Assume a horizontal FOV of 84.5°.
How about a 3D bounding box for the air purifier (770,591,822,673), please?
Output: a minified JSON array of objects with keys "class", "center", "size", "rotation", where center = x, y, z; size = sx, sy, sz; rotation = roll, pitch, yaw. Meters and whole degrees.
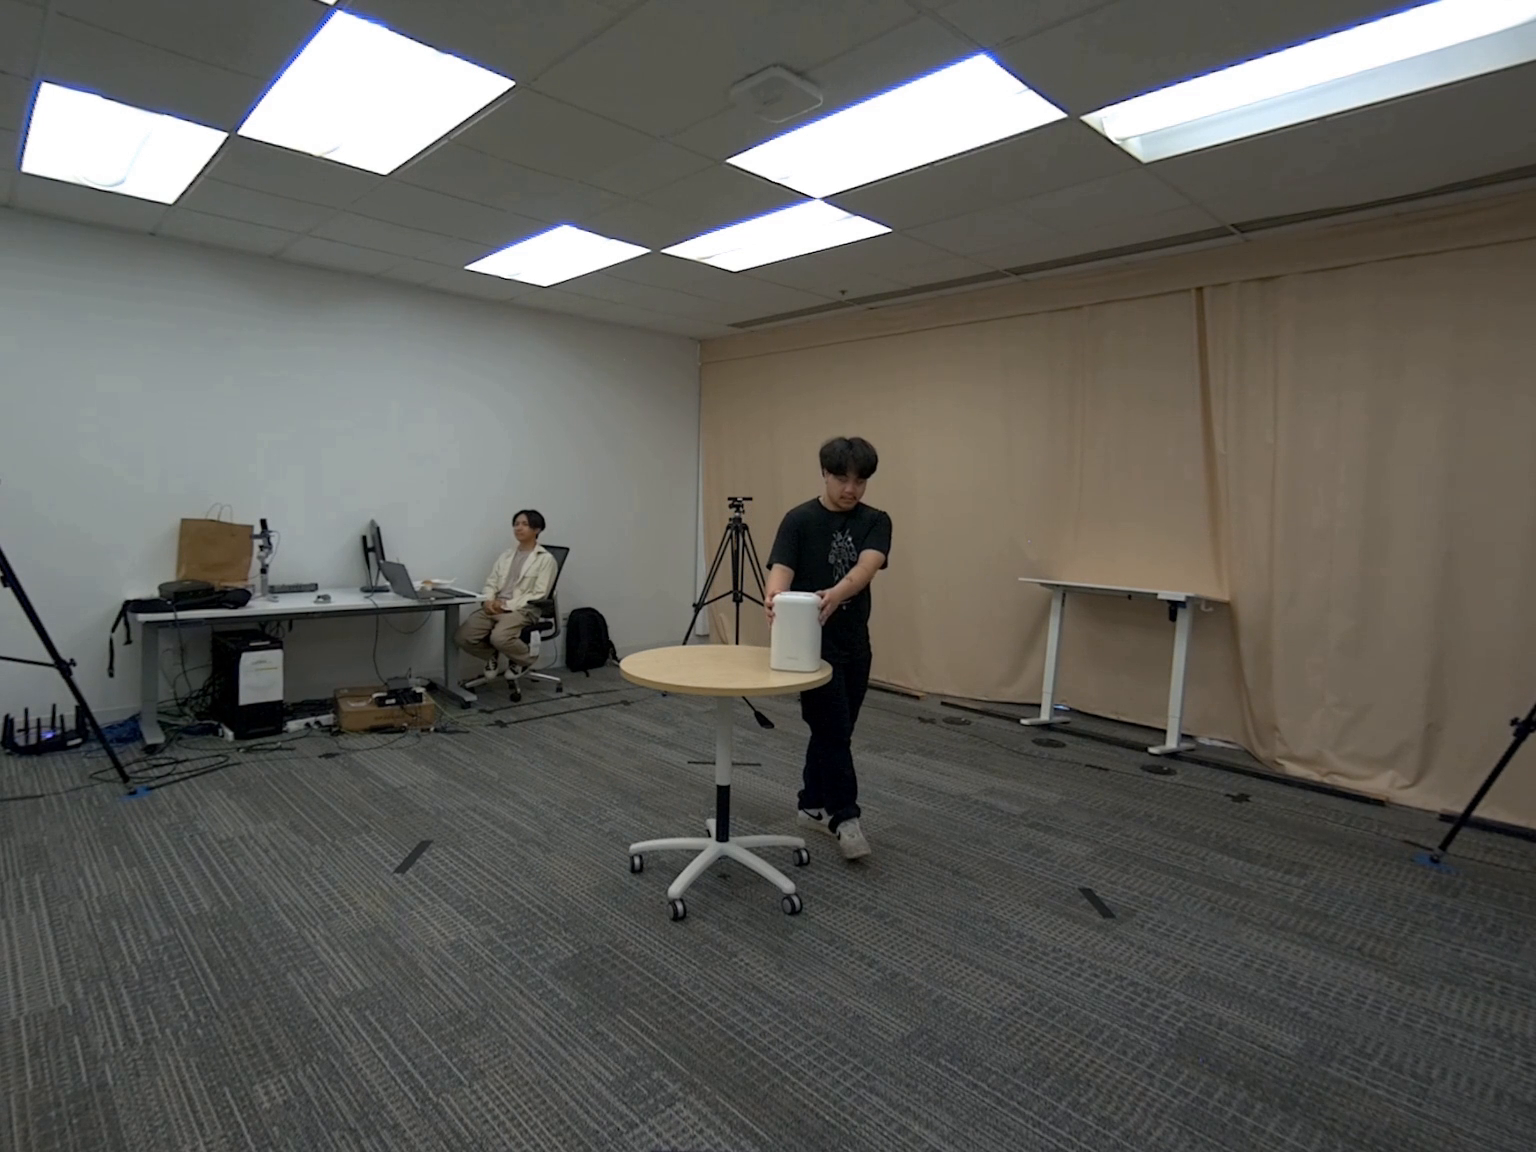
[{"class":"air purifier","center":[0.094,0.199,3.005],"size":[0.172,0.264,0.171],"rotation":[4,5,9]}]
